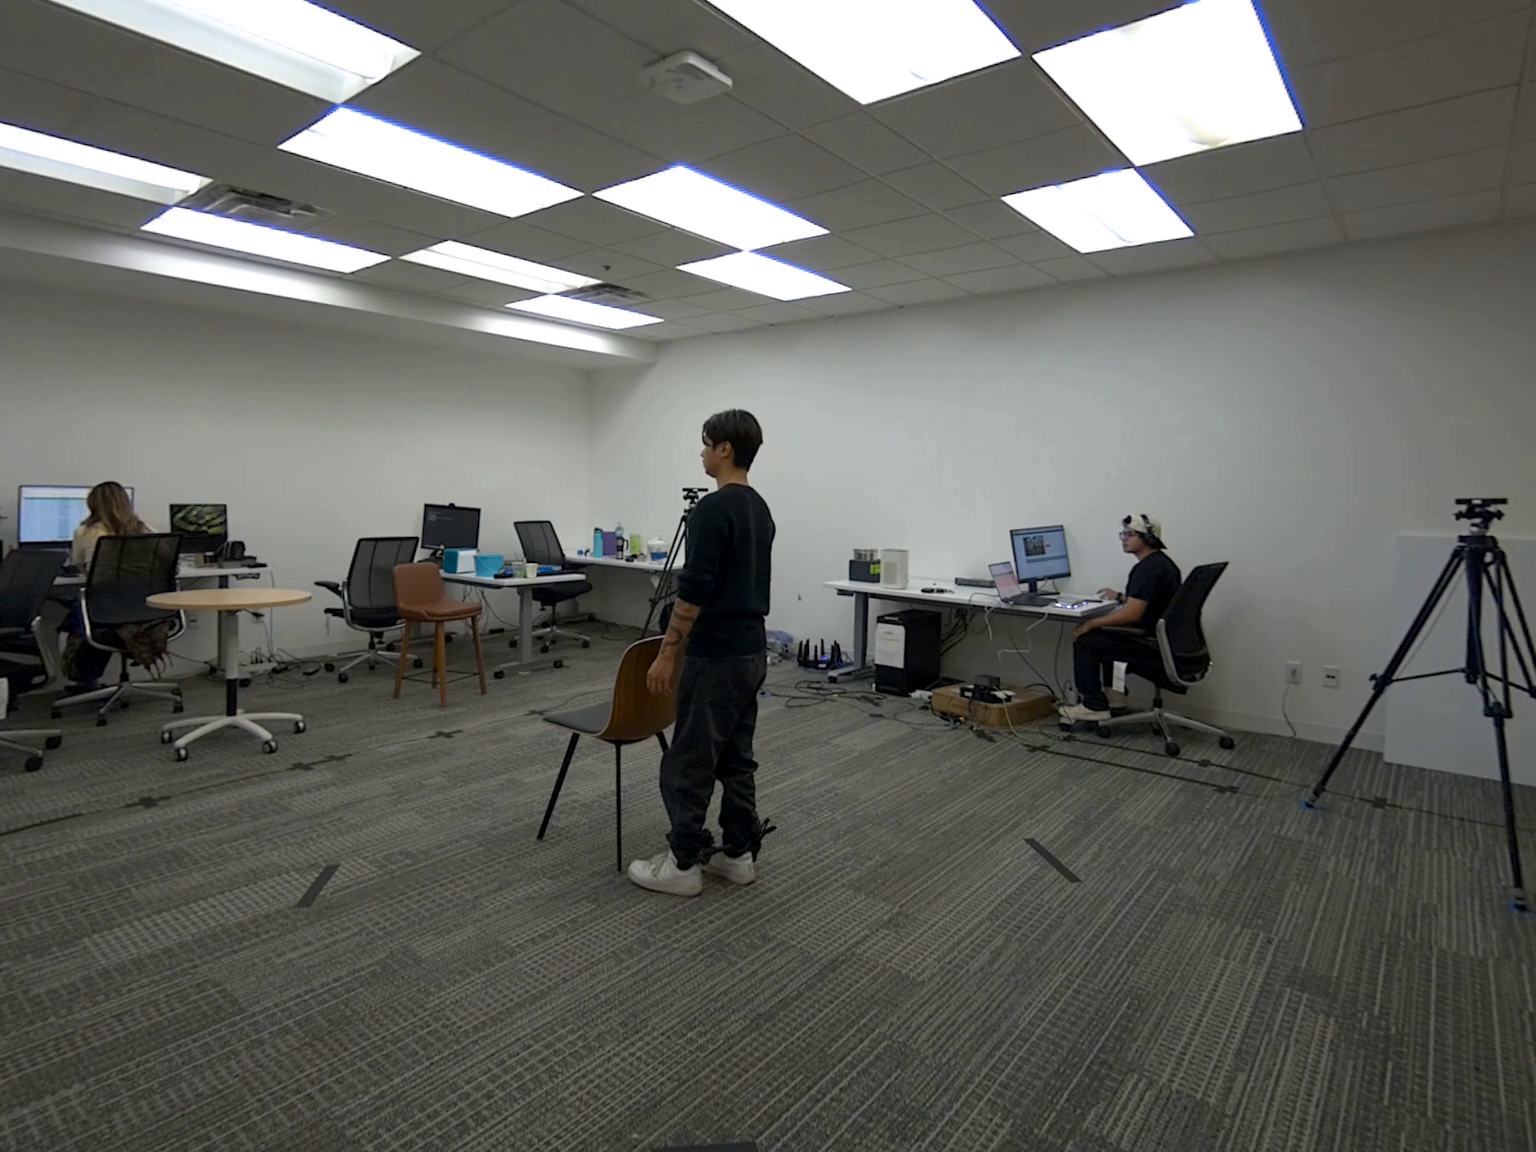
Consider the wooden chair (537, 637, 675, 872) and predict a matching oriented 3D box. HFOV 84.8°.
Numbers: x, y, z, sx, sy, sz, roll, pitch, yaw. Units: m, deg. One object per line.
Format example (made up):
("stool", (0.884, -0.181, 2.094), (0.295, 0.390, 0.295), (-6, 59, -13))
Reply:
("wooden chair", (-0.607, 0.612, 3.361), (0.541, 0.873, 0.464), (9, 7, 36))
